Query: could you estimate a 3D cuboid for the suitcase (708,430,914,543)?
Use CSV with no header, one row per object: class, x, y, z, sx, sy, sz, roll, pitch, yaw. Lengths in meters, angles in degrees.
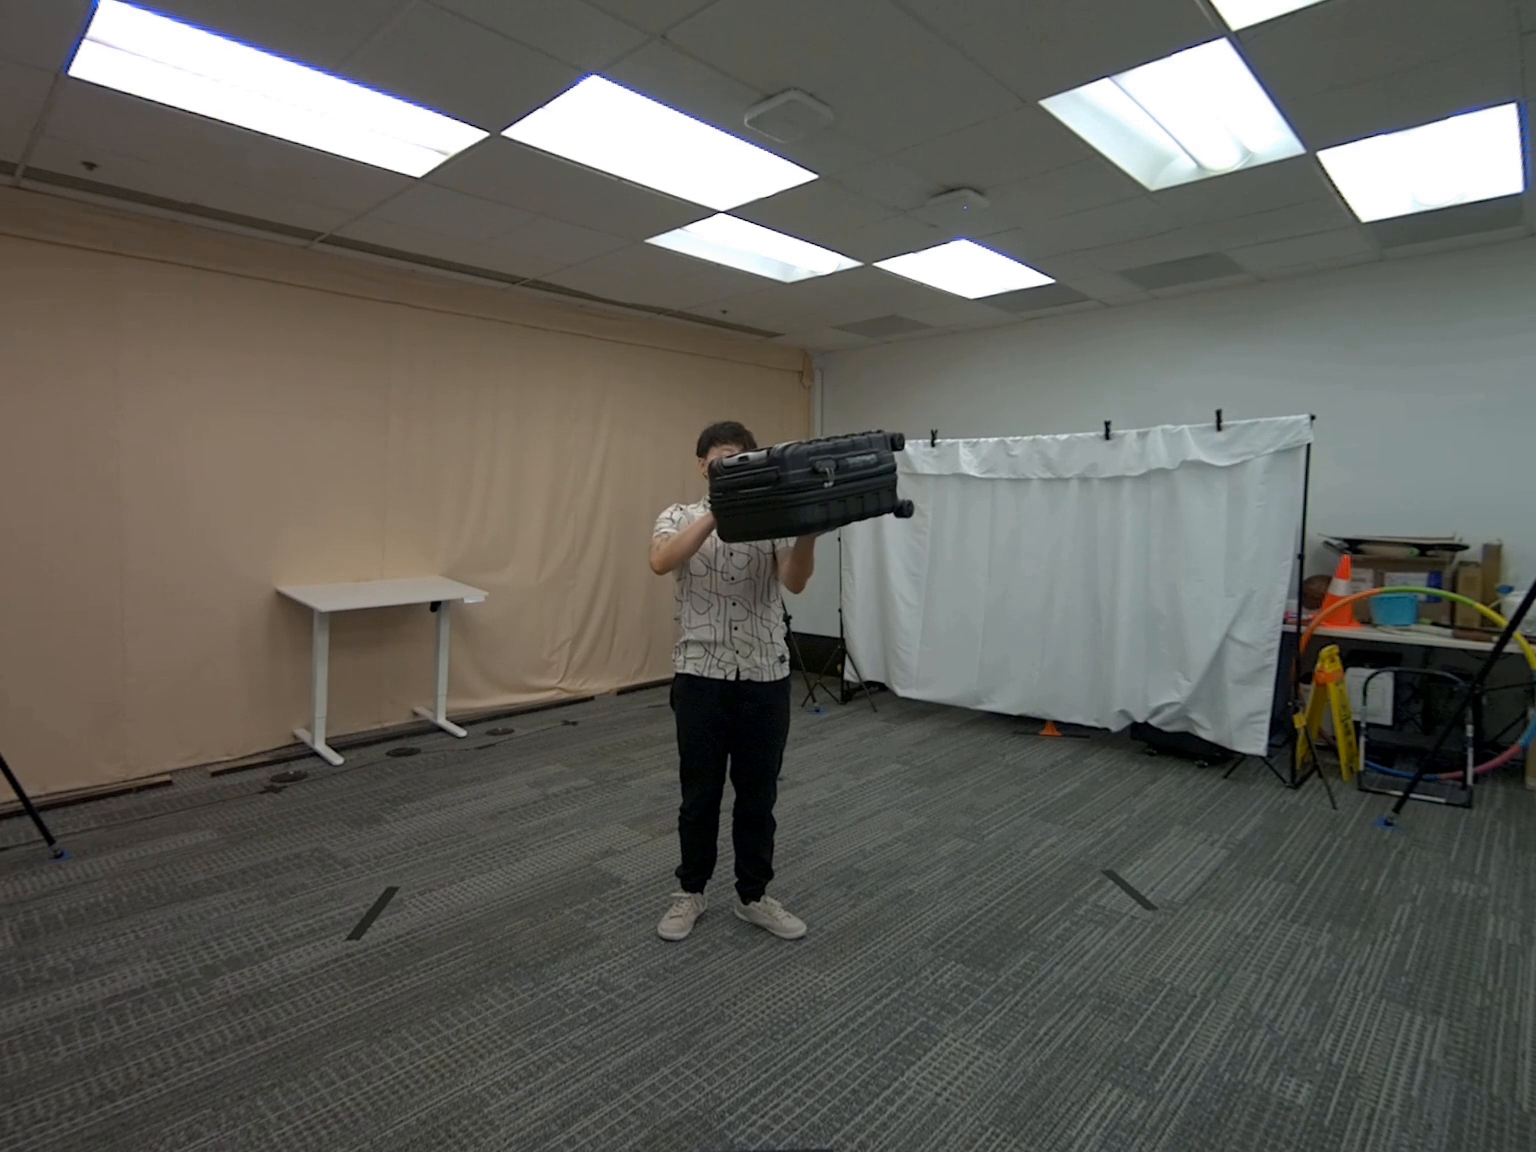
suitcase,0.119,-0.254,2.378,0.387,0.247,0.535,-4,8,42
